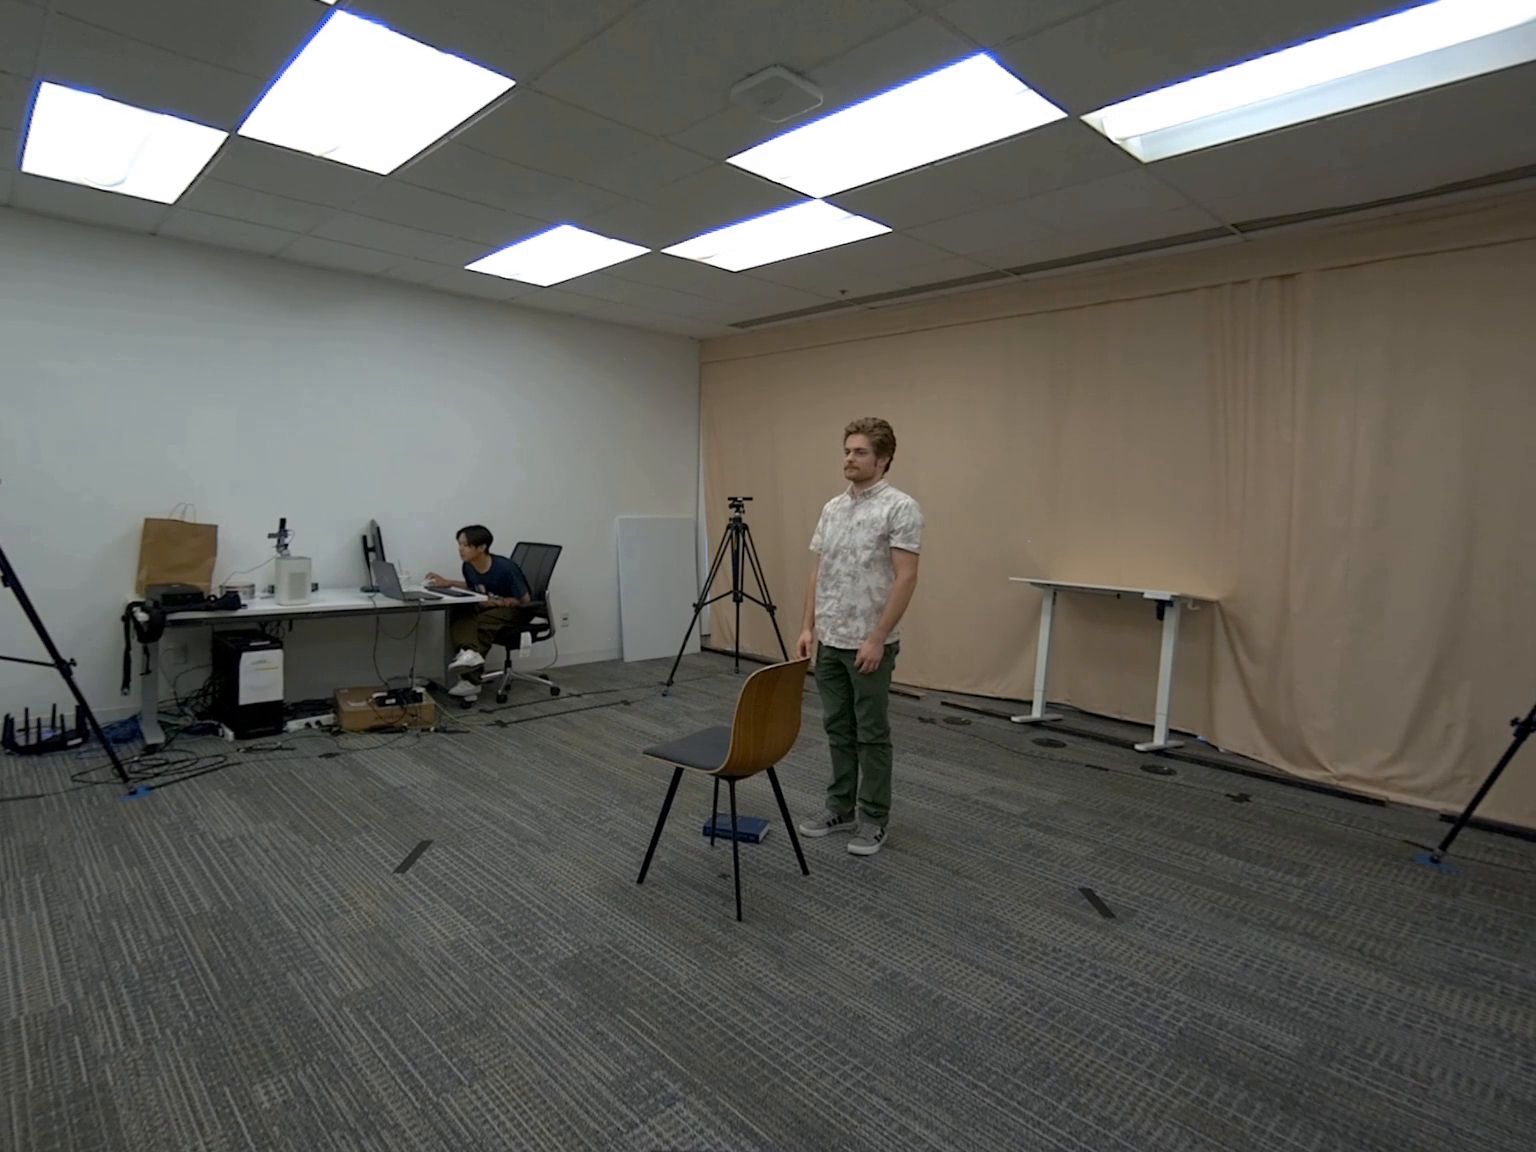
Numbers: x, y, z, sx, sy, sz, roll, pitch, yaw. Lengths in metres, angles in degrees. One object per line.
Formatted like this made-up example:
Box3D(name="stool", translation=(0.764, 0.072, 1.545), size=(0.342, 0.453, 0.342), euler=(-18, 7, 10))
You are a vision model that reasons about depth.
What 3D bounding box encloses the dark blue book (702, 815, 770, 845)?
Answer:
Box3D(name="dark blue book", translation=(-0.134, 1.044, 3.512), size=(0.249, 0.045, 0.161), euler=(3, 4, 18))
